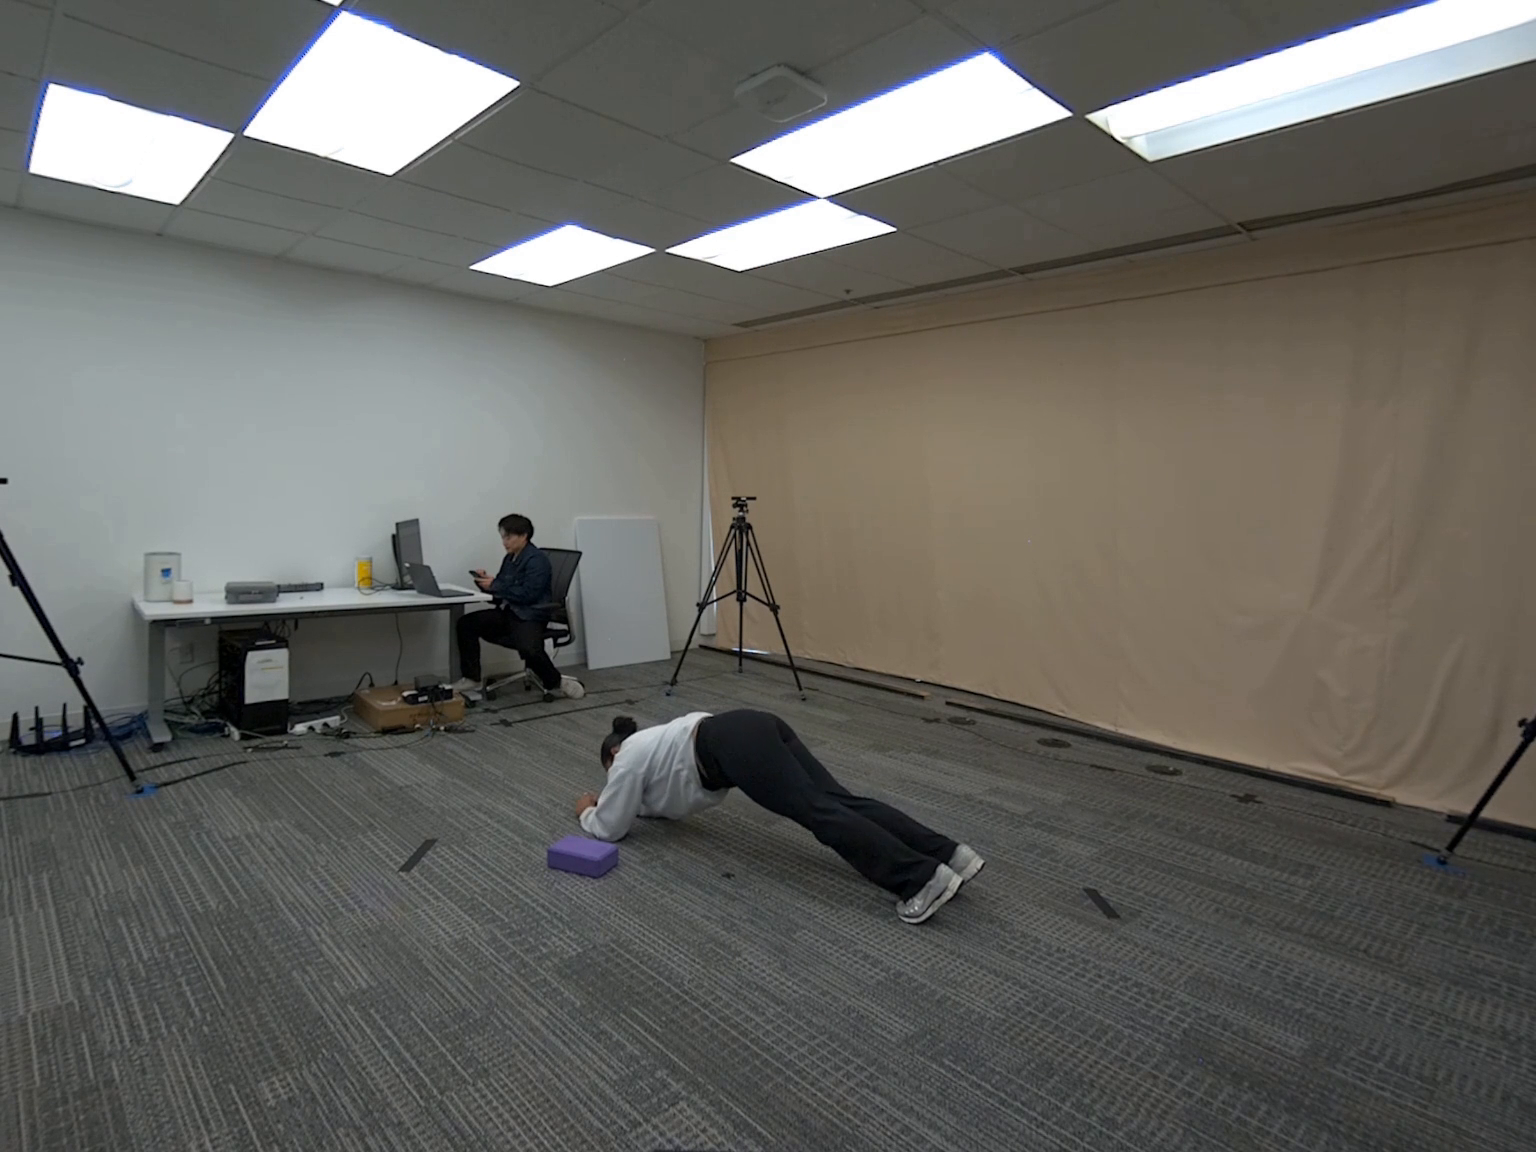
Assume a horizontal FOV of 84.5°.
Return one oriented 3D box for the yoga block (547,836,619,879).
[{"bbox_3d":[-0.702,1.046,3.154,0.233,0.076,0.147,3,7,22],"label":"yoga block"}]
